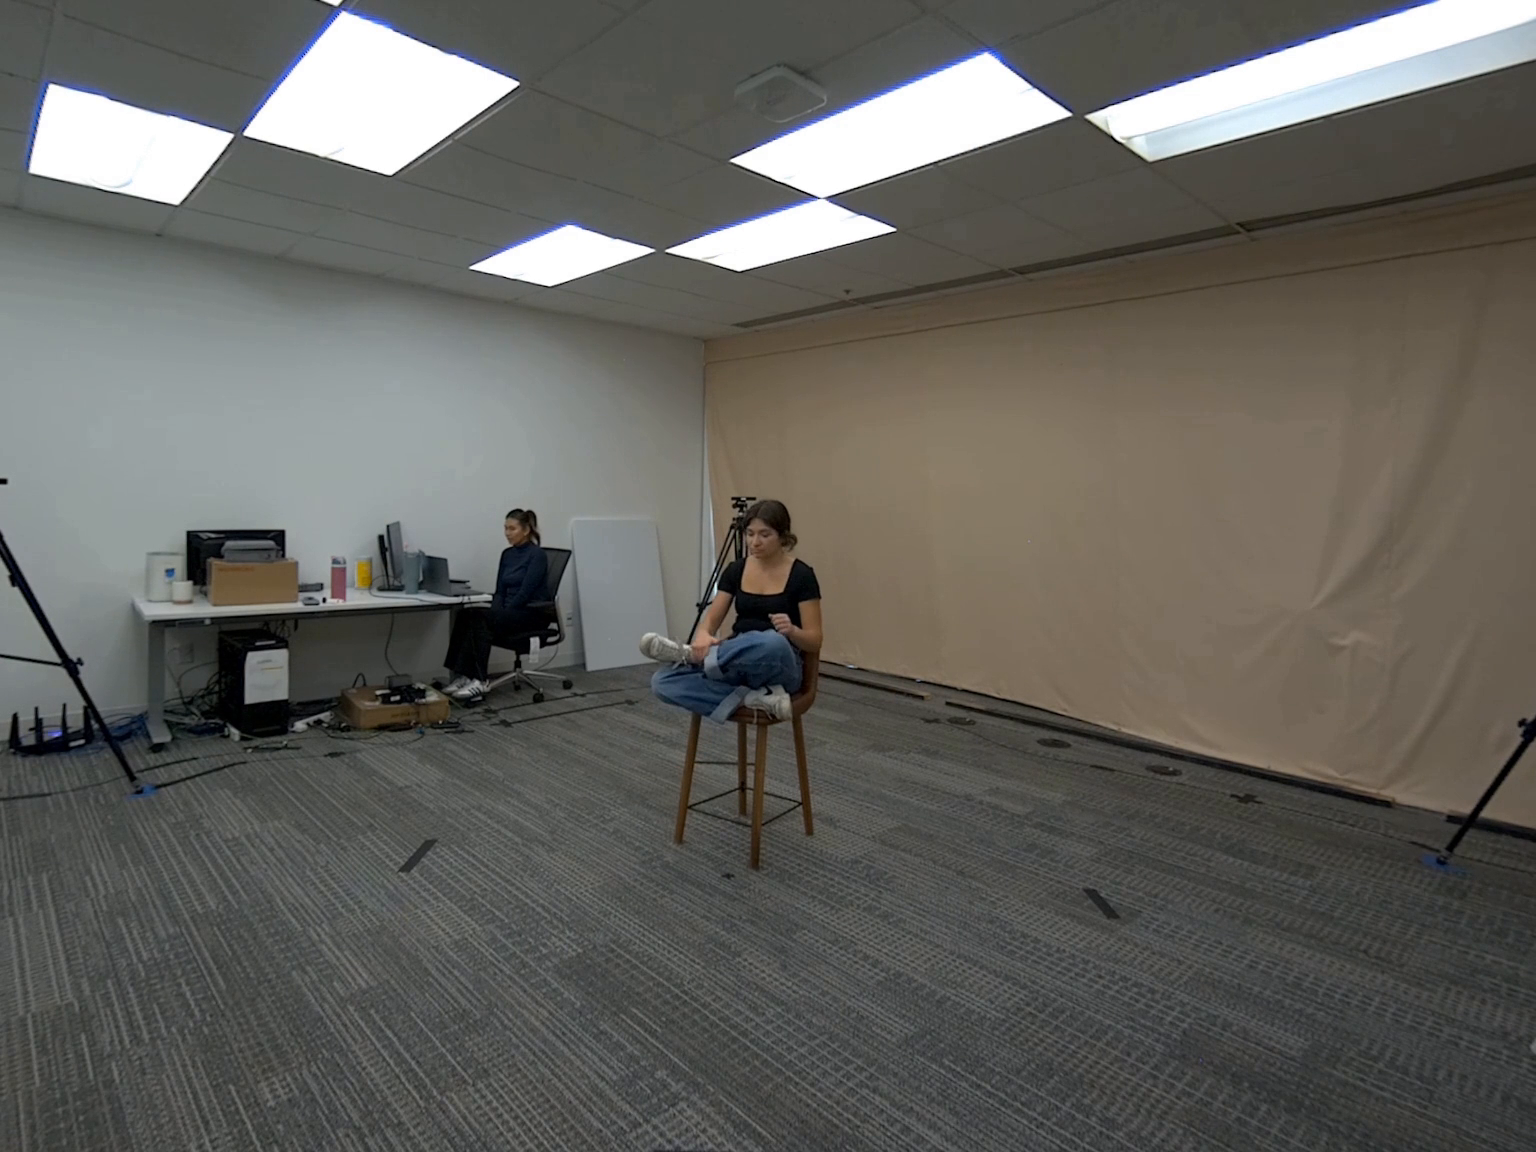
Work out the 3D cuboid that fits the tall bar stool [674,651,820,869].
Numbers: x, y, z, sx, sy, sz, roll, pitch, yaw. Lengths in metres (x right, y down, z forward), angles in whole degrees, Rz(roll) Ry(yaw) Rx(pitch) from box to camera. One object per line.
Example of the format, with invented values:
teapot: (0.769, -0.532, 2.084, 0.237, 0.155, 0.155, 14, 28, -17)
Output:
tall bar stool: (-0.074, 0.647, 3.437, 0.467, 0.889, 0.457, 4, 2, 36)
